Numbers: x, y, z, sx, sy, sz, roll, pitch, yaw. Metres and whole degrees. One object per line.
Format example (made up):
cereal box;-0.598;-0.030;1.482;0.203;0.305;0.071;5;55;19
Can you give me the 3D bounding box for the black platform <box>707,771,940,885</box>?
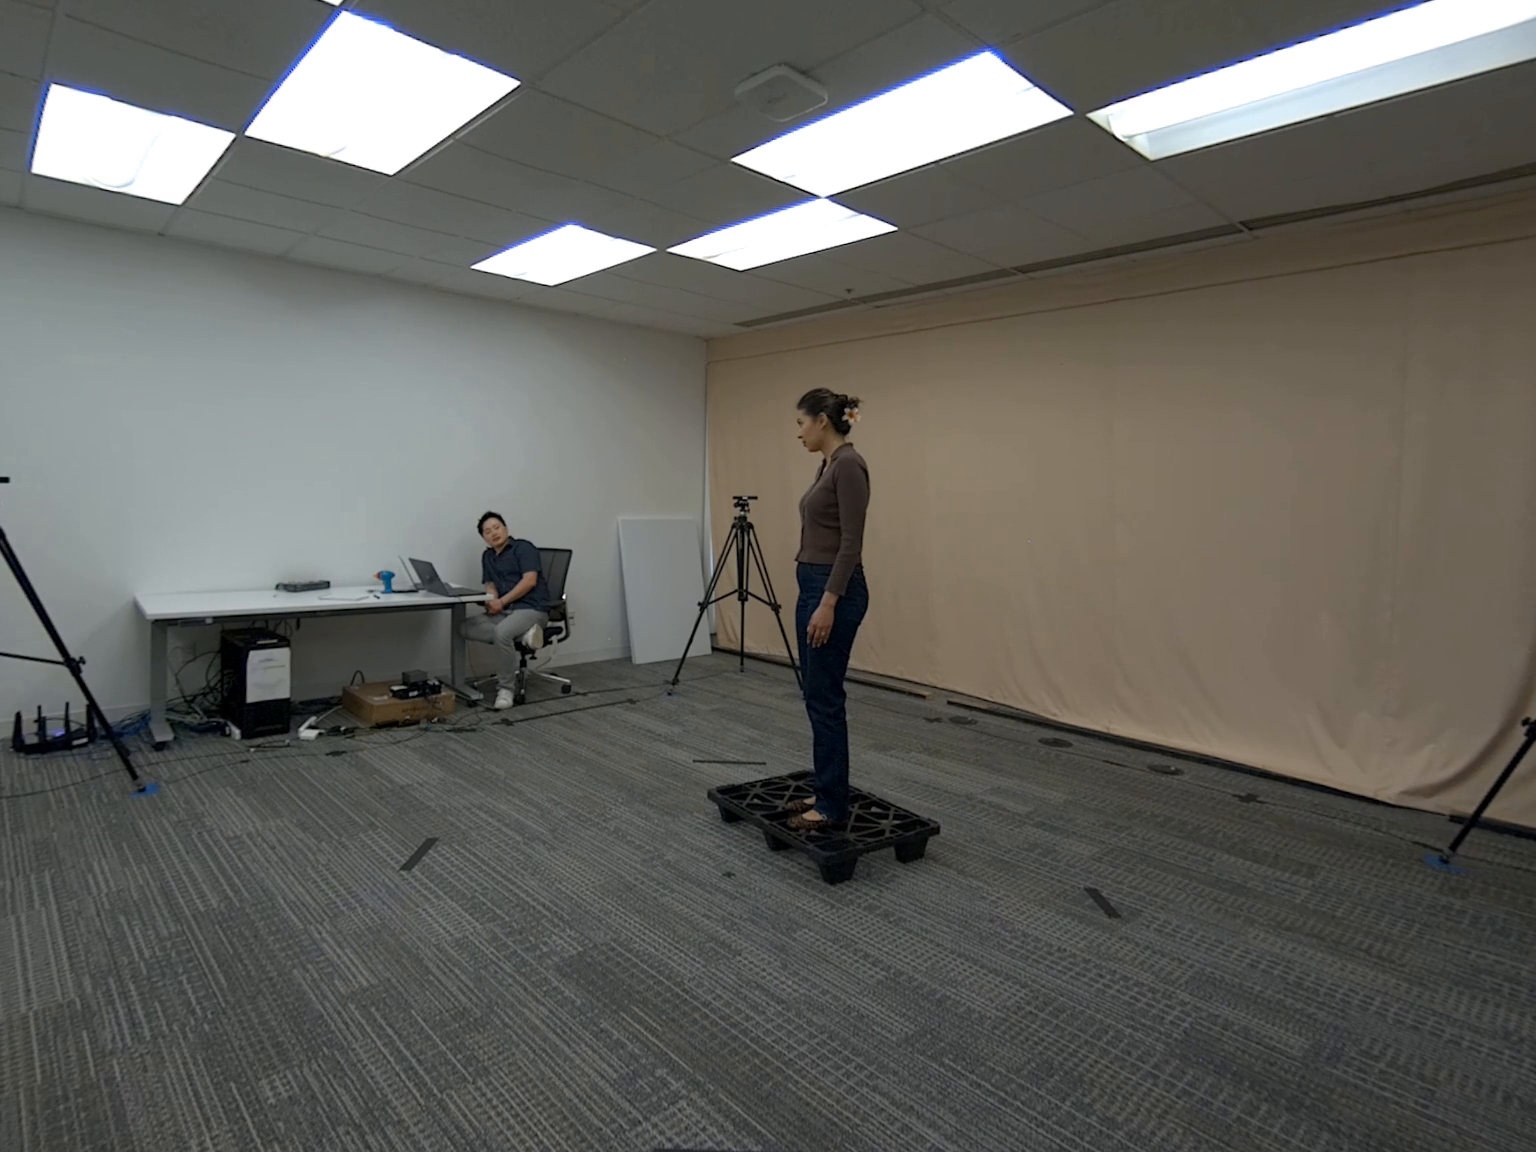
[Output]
black platform;0.200;1.012;3.459;0.592;0.143;0.825;-3;6;-35
